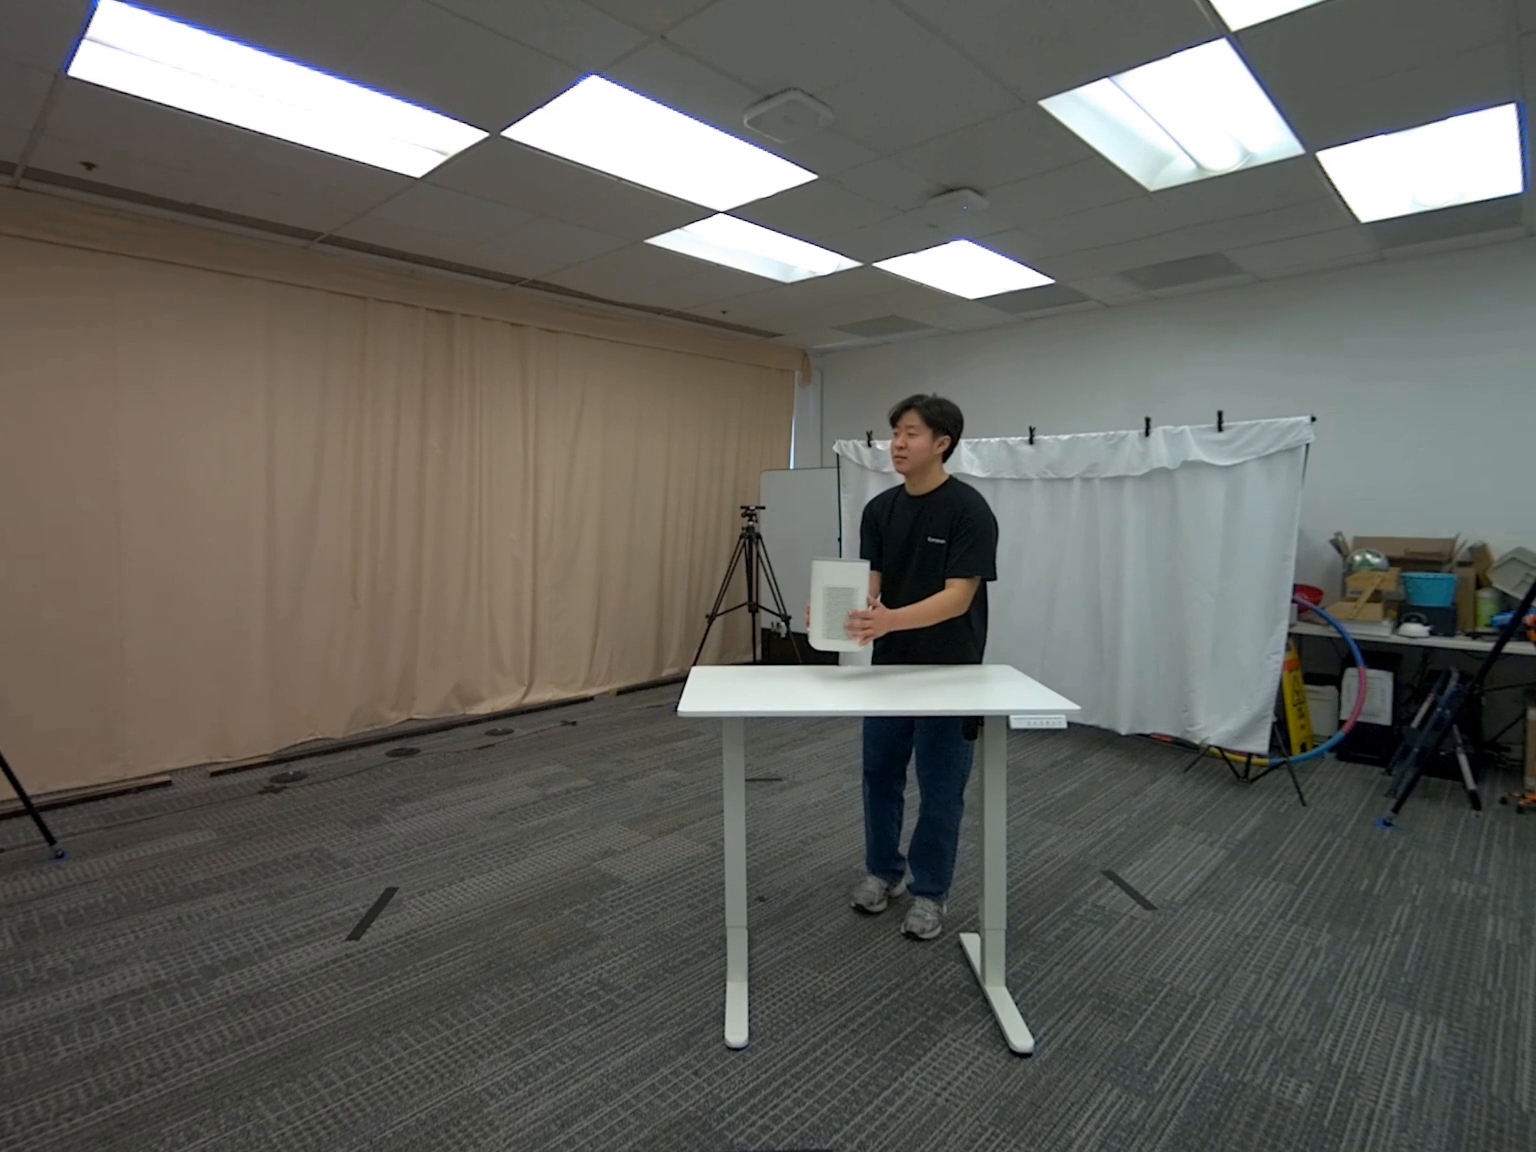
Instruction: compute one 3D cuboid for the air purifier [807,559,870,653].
[{"bbox_3d":[0.218,0.087,2.481,0.172,0.265,0.170,1,0,3],"label":"air purifier"}]
